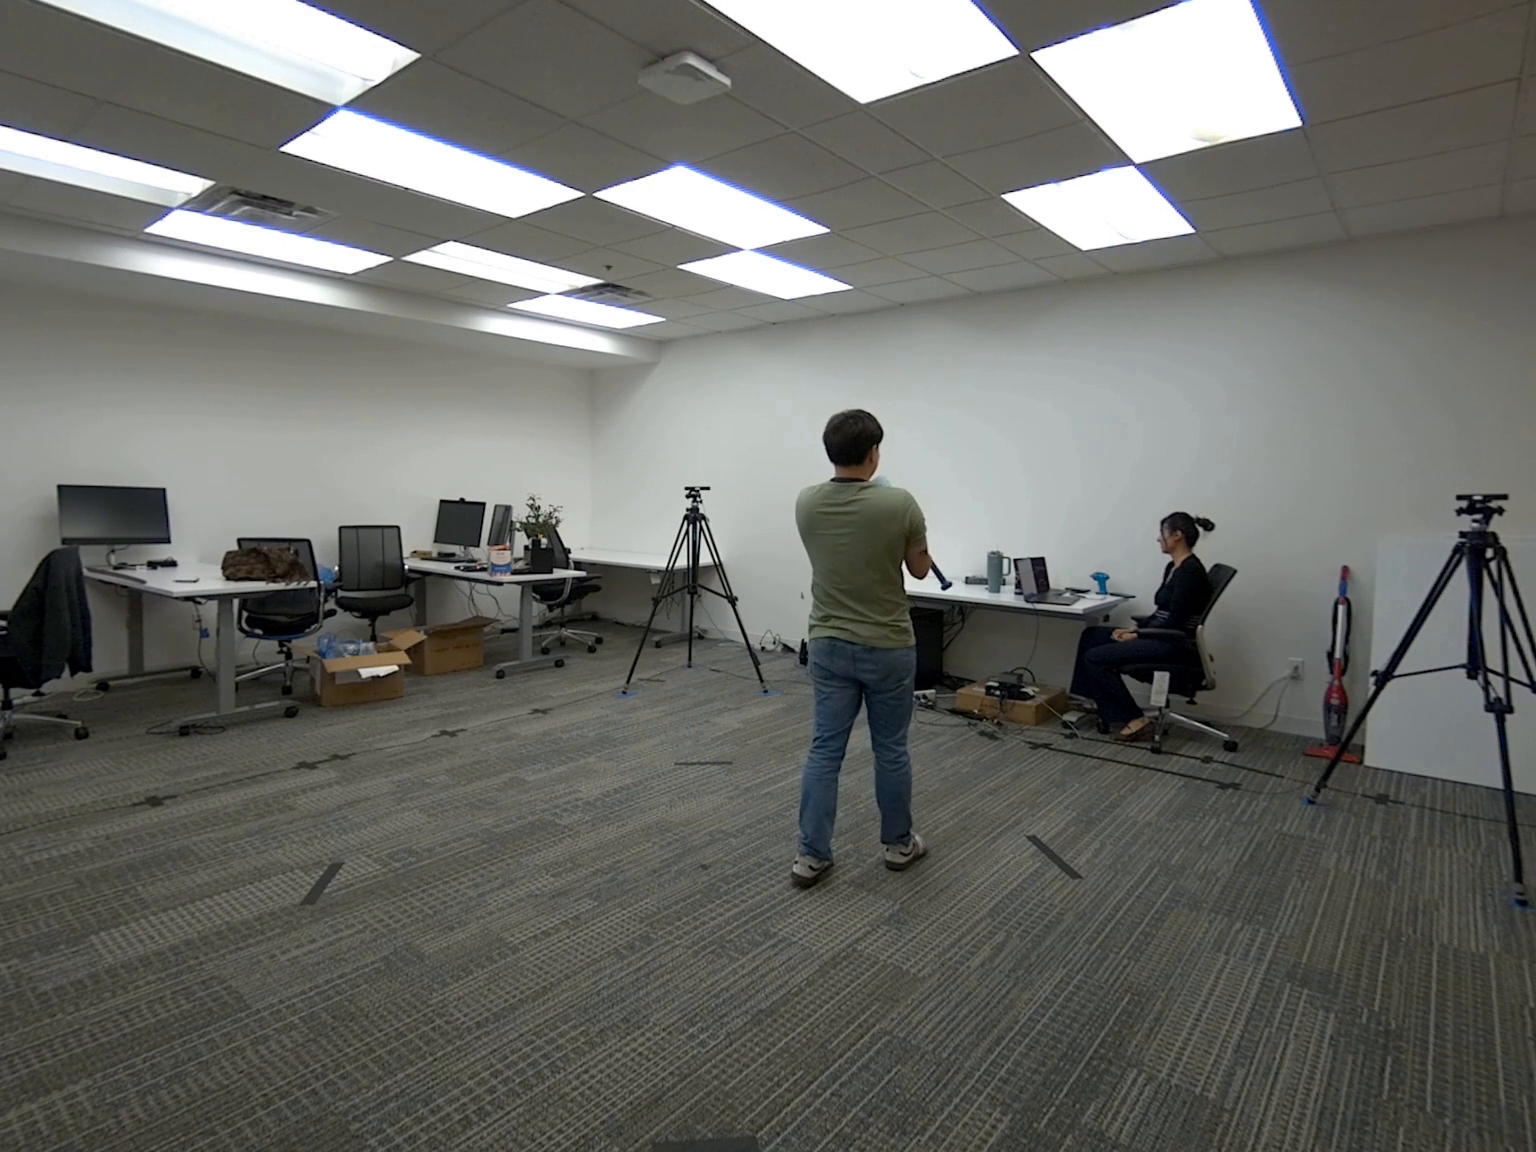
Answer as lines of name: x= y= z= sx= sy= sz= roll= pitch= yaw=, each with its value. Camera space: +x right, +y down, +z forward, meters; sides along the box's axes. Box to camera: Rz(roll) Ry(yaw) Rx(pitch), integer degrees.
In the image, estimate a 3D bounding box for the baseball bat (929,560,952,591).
baseball bat: x=0.580 y=-0.176 z=3.478 sx=0.089 sy=0.553 sz=0.088 roll=-30 pitch=-14 yaw=-9
